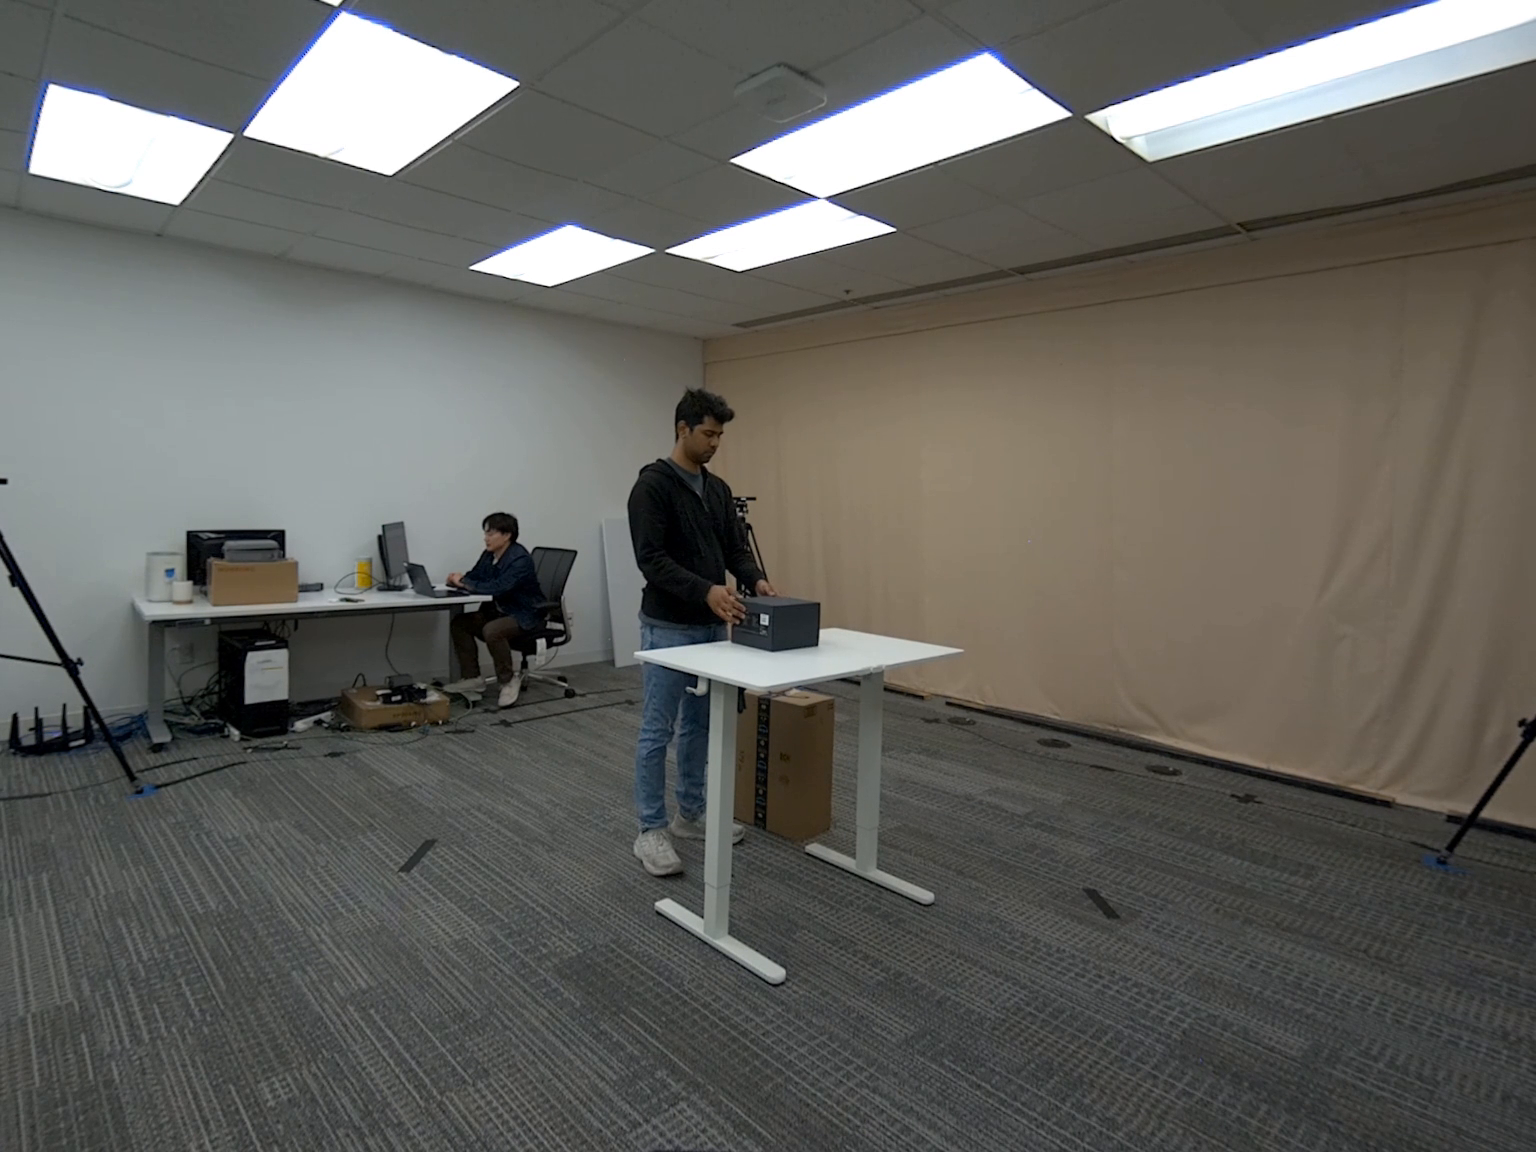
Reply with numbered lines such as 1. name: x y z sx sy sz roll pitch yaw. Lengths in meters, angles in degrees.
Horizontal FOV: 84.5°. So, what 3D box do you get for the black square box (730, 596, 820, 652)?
1. black square box: 0.033 0.160 2.953 0.222 0.155 0.222 -2 6 -42
